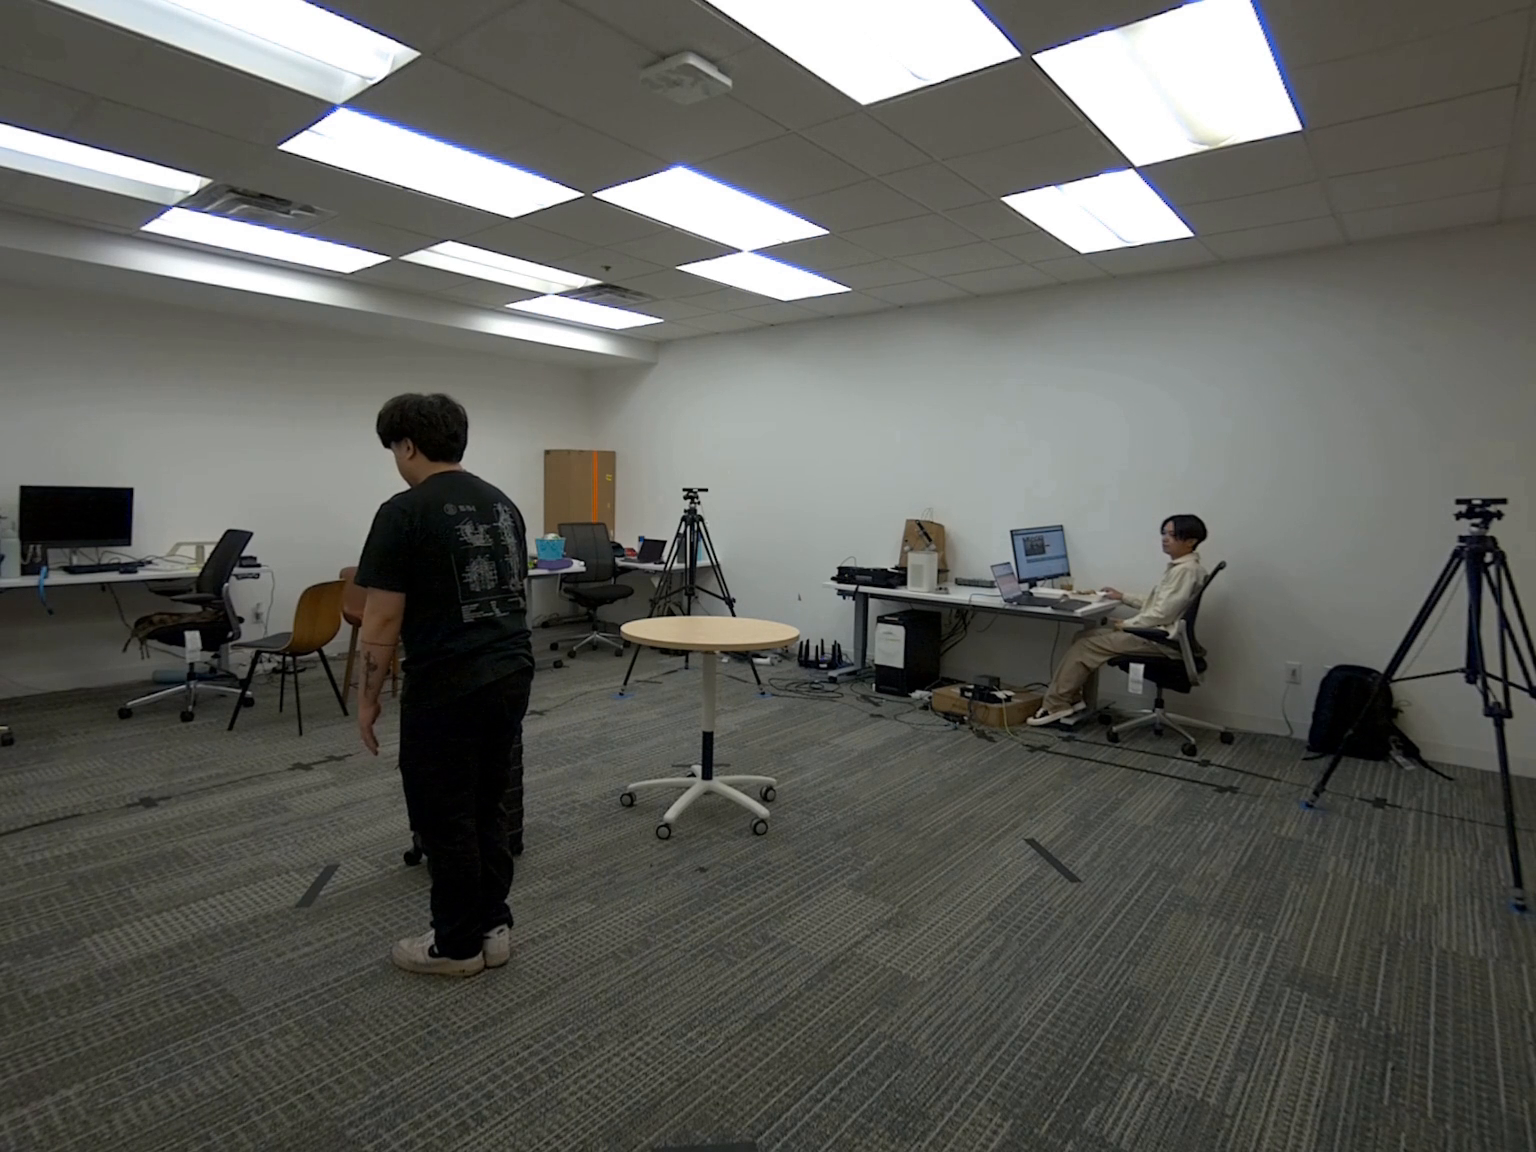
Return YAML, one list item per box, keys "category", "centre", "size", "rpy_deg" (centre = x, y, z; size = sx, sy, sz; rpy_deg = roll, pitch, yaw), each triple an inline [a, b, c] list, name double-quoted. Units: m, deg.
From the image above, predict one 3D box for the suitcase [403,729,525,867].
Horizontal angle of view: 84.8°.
- category: "suitcase"
  centre: [-1.118, 0.776, 3.136]
  size: [0.257, 0.547, 0.364]
  rpy_deg: [6, 6, 38]
